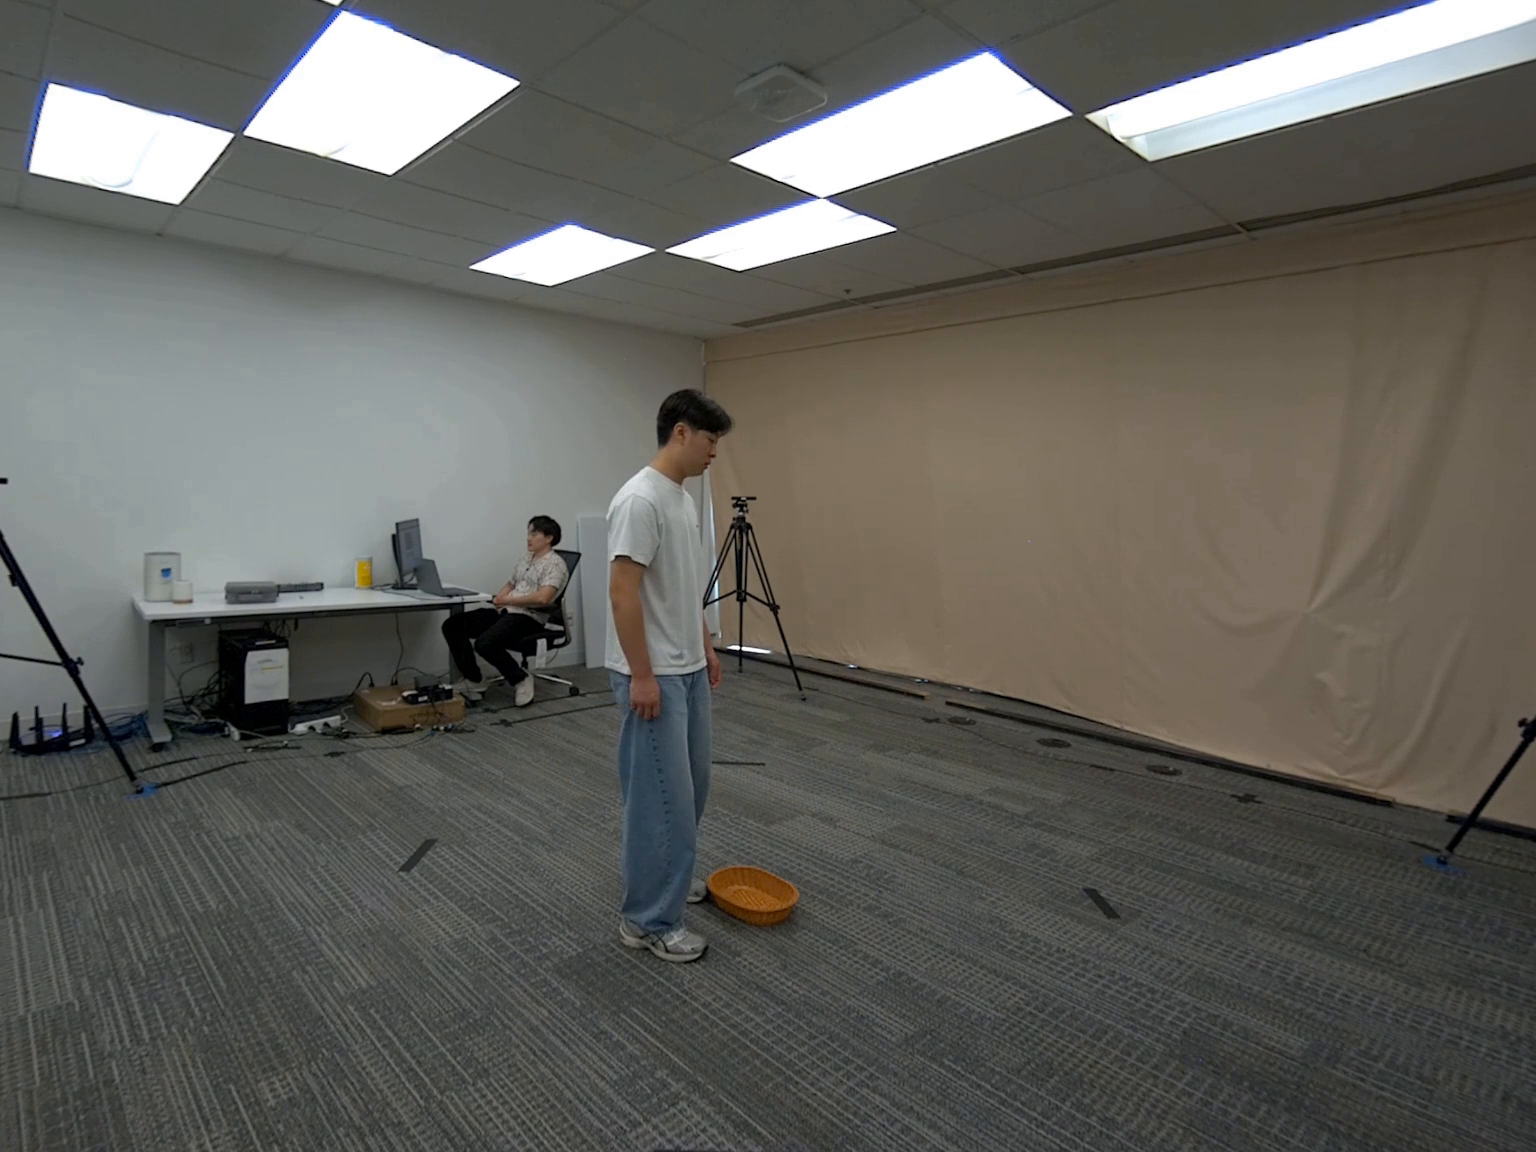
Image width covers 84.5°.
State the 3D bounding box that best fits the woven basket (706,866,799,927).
[{"bbox_3d":[-0.063,1.087,2.876,0.247,0.073,0.359,-4,7,-38],"label":"woven basket"}]
